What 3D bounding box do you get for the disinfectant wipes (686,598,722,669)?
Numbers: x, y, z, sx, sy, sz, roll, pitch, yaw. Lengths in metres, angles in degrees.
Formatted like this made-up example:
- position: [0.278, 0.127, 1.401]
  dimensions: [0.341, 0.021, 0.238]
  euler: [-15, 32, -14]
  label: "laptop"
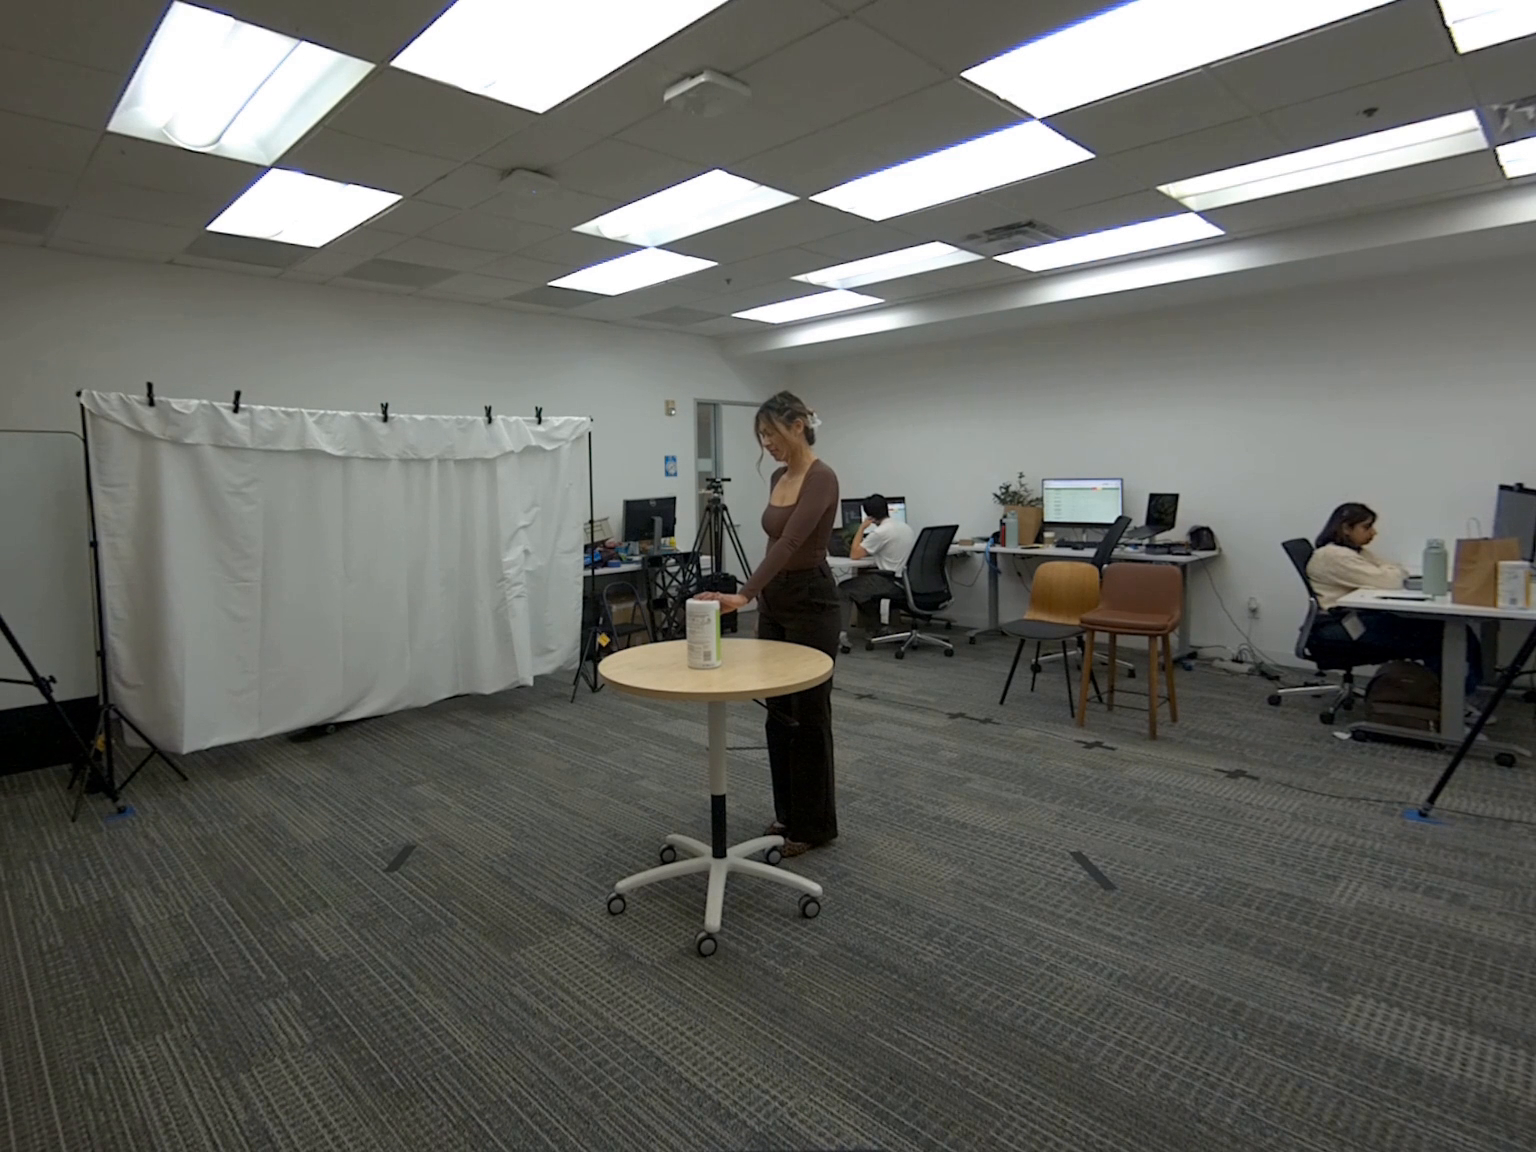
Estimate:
- position: [-0.202, 0.184, 2.741]
  dimensions: [0.118, 0.217, 0.118]
  euler: [-1, 2, -2]
  label: "disinfectant wipes"
